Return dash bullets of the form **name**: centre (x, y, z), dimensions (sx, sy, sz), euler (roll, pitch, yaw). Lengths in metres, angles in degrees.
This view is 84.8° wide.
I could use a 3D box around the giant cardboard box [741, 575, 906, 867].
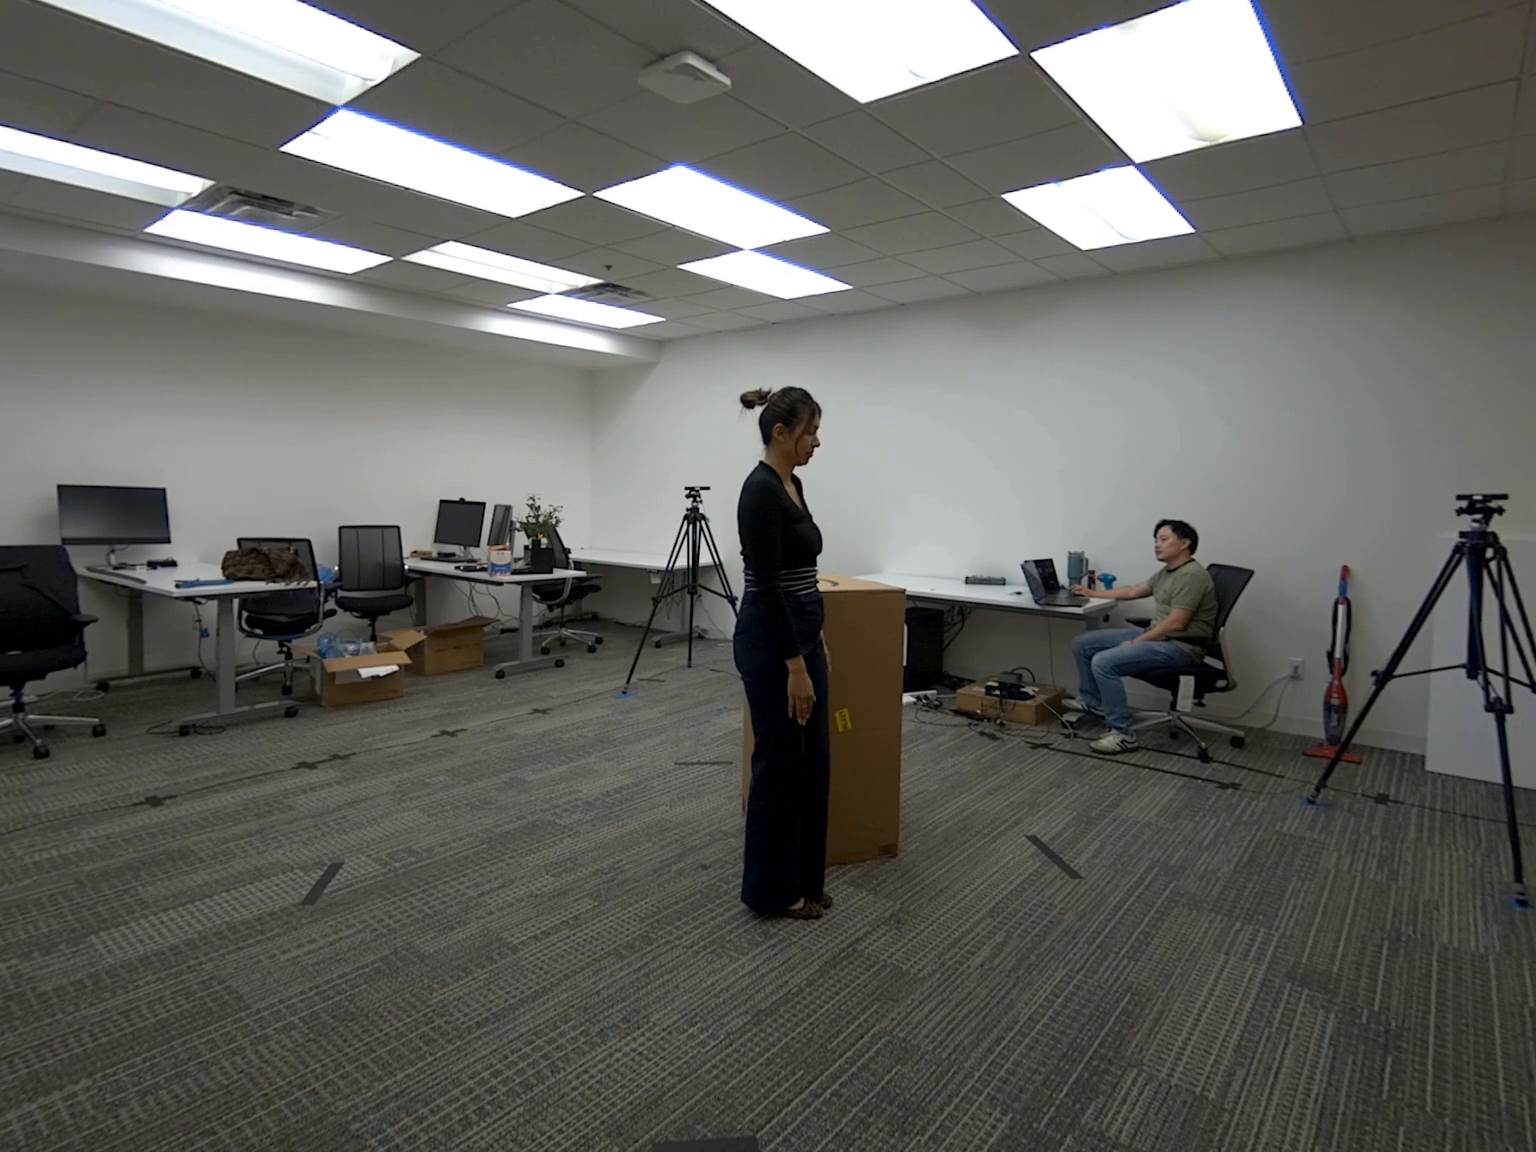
- **giant cardboard box**: centre (0.201, 0.529, 3.410), dimensions (0.417, 1.022, 0.592), euler (0, 4, -23)
